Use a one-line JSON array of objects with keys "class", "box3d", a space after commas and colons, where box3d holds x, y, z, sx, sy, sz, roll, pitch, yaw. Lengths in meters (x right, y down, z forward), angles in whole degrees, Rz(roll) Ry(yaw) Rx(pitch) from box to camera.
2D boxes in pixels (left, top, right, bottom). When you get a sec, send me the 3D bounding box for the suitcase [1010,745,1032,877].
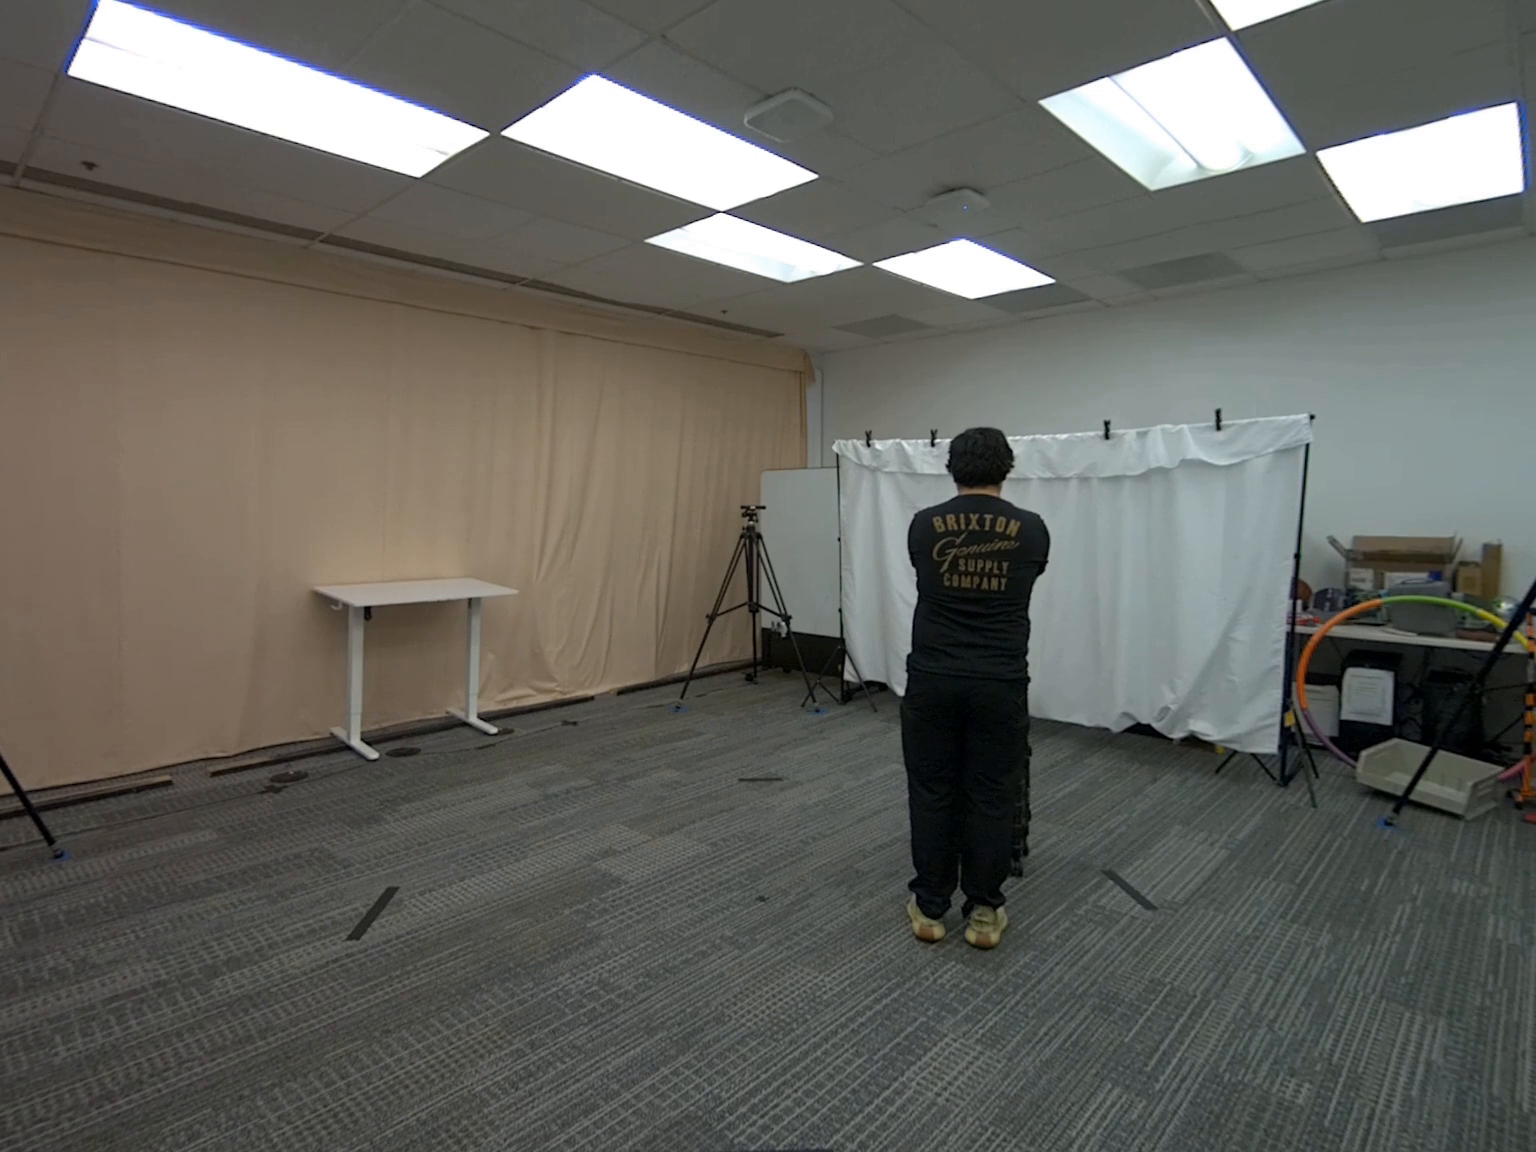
[{"class": "suitcase", "box3d": [0.842, 0.638, 3.330, 0.392, 0.979, 0.251, 0, 0, 20]}]
